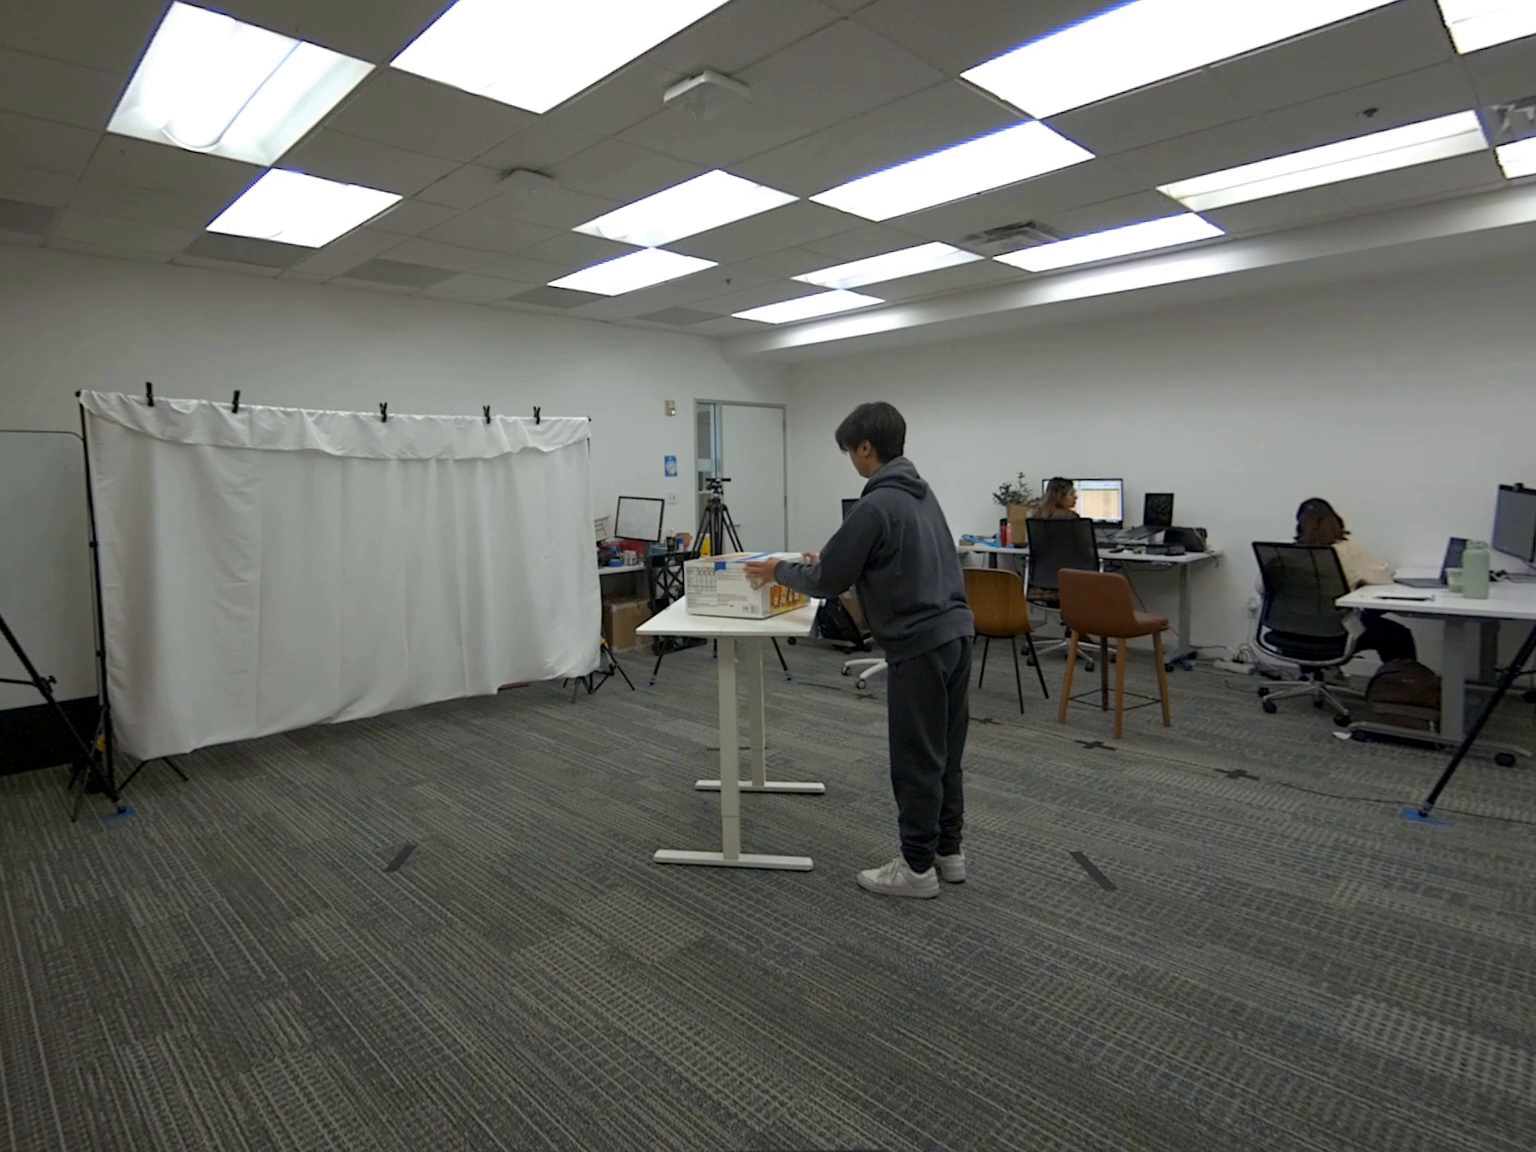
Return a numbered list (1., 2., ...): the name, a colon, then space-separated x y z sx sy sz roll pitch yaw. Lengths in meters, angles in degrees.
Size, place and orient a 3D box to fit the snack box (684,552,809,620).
1. snack box: -0.067 0.029 3.338 0.349 0.205 0.396 1 6 31
